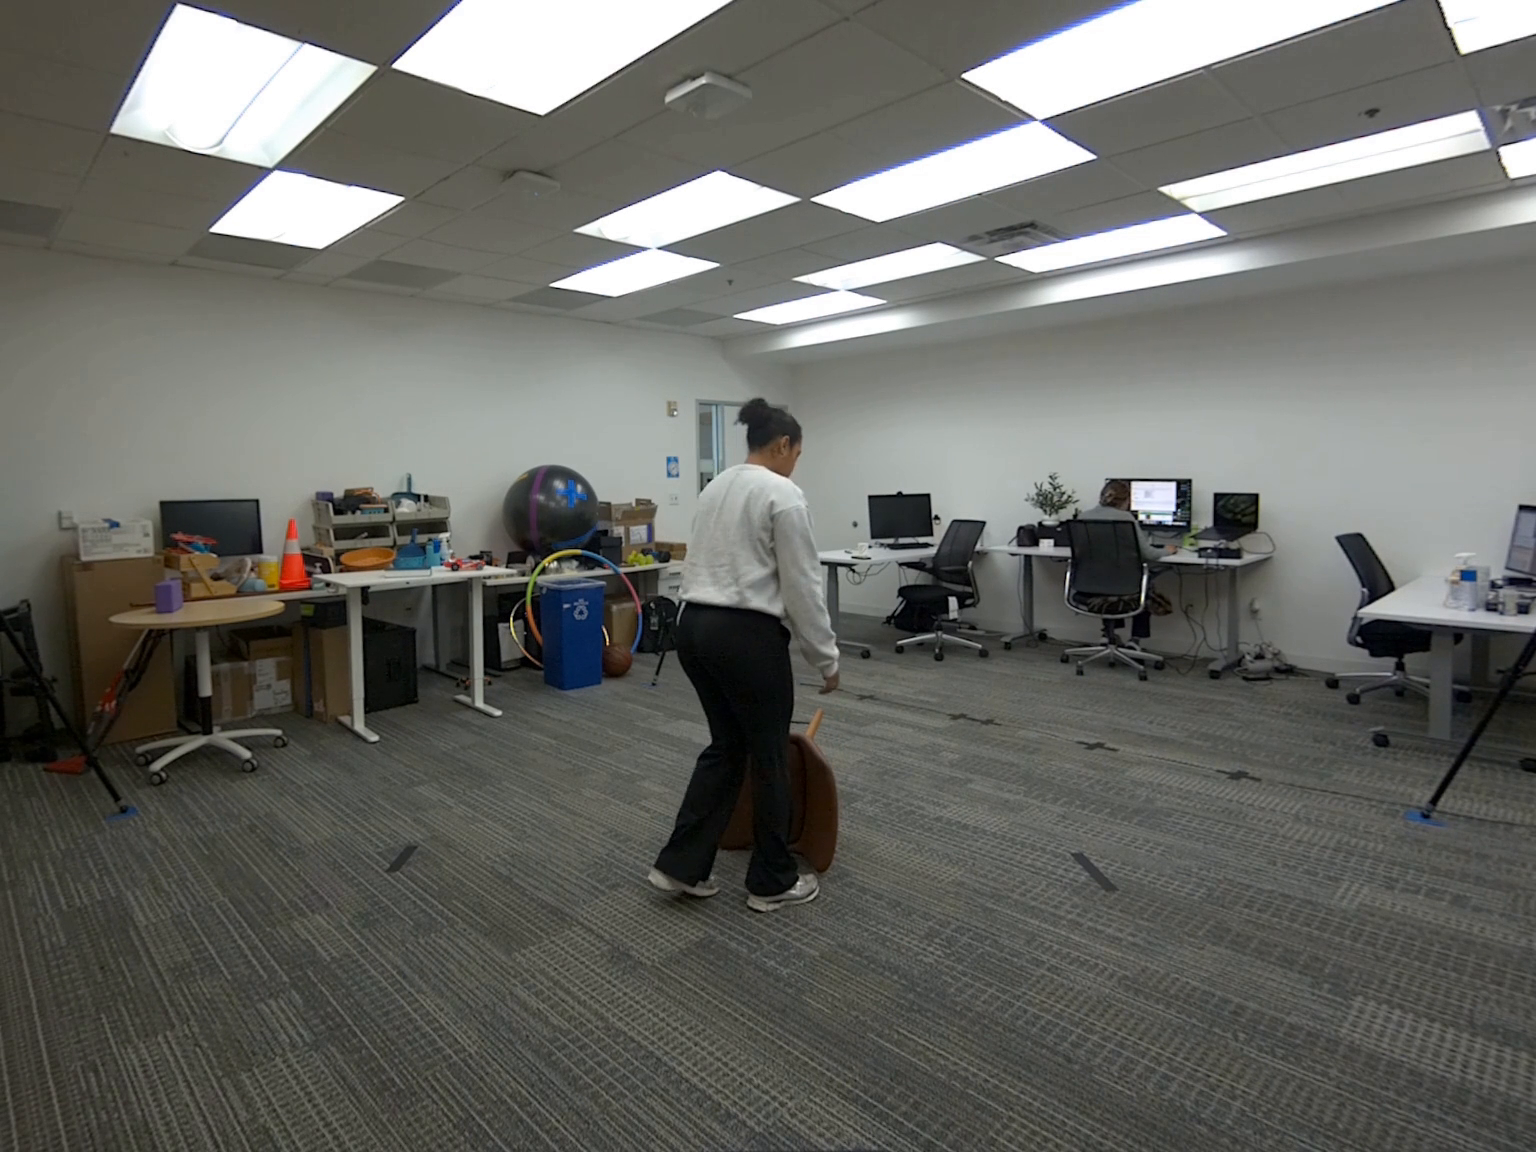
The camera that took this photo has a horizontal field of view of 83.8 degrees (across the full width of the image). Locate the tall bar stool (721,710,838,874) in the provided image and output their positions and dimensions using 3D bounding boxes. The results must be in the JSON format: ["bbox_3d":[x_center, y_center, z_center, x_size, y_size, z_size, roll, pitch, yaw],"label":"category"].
[{"bbox_3d":[0.007,0.802,3.374,0.468,0.455,0.891,1,4,1],"label":"tall bar stool"}]
